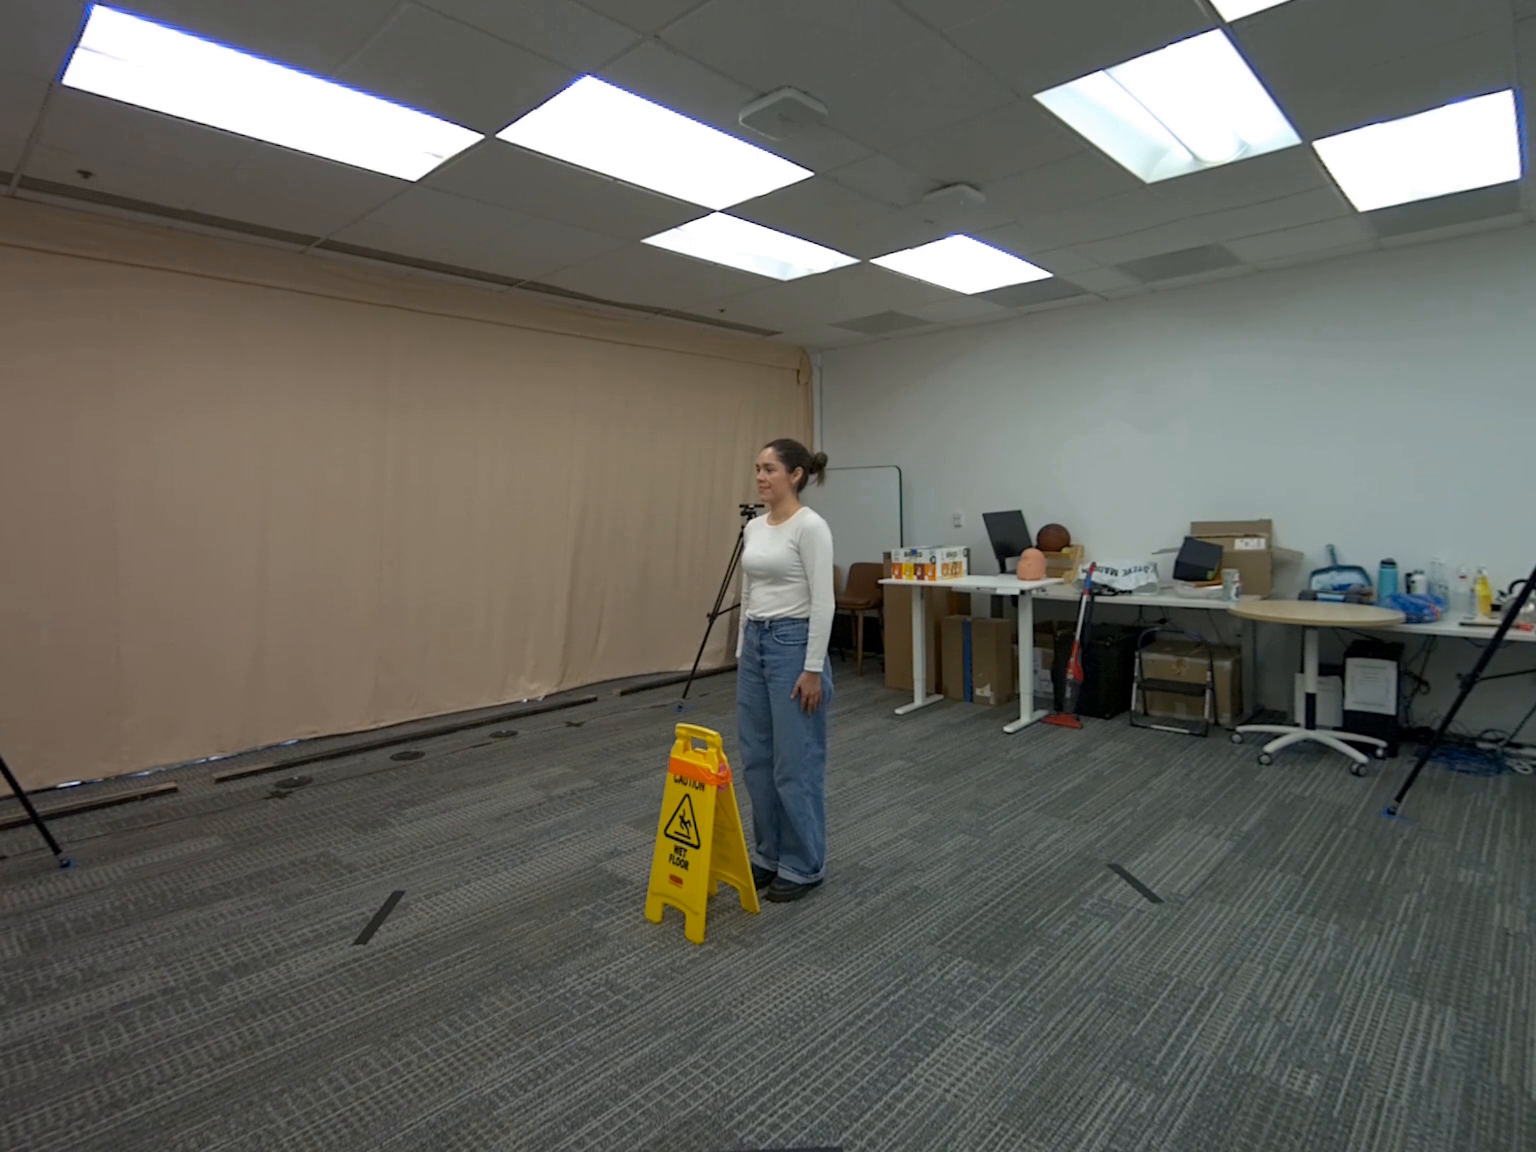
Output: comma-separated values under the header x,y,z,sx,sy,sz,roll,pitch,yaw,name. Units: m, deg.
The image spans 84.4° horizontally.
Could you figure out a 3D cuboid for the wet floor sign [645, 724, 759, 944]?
x,y,z,sx,sy,sz,roll,pitch,yaw,name
-0.227,0.832,2.844,0.291,0.644,0.281,1,5,43,wet floor sign
